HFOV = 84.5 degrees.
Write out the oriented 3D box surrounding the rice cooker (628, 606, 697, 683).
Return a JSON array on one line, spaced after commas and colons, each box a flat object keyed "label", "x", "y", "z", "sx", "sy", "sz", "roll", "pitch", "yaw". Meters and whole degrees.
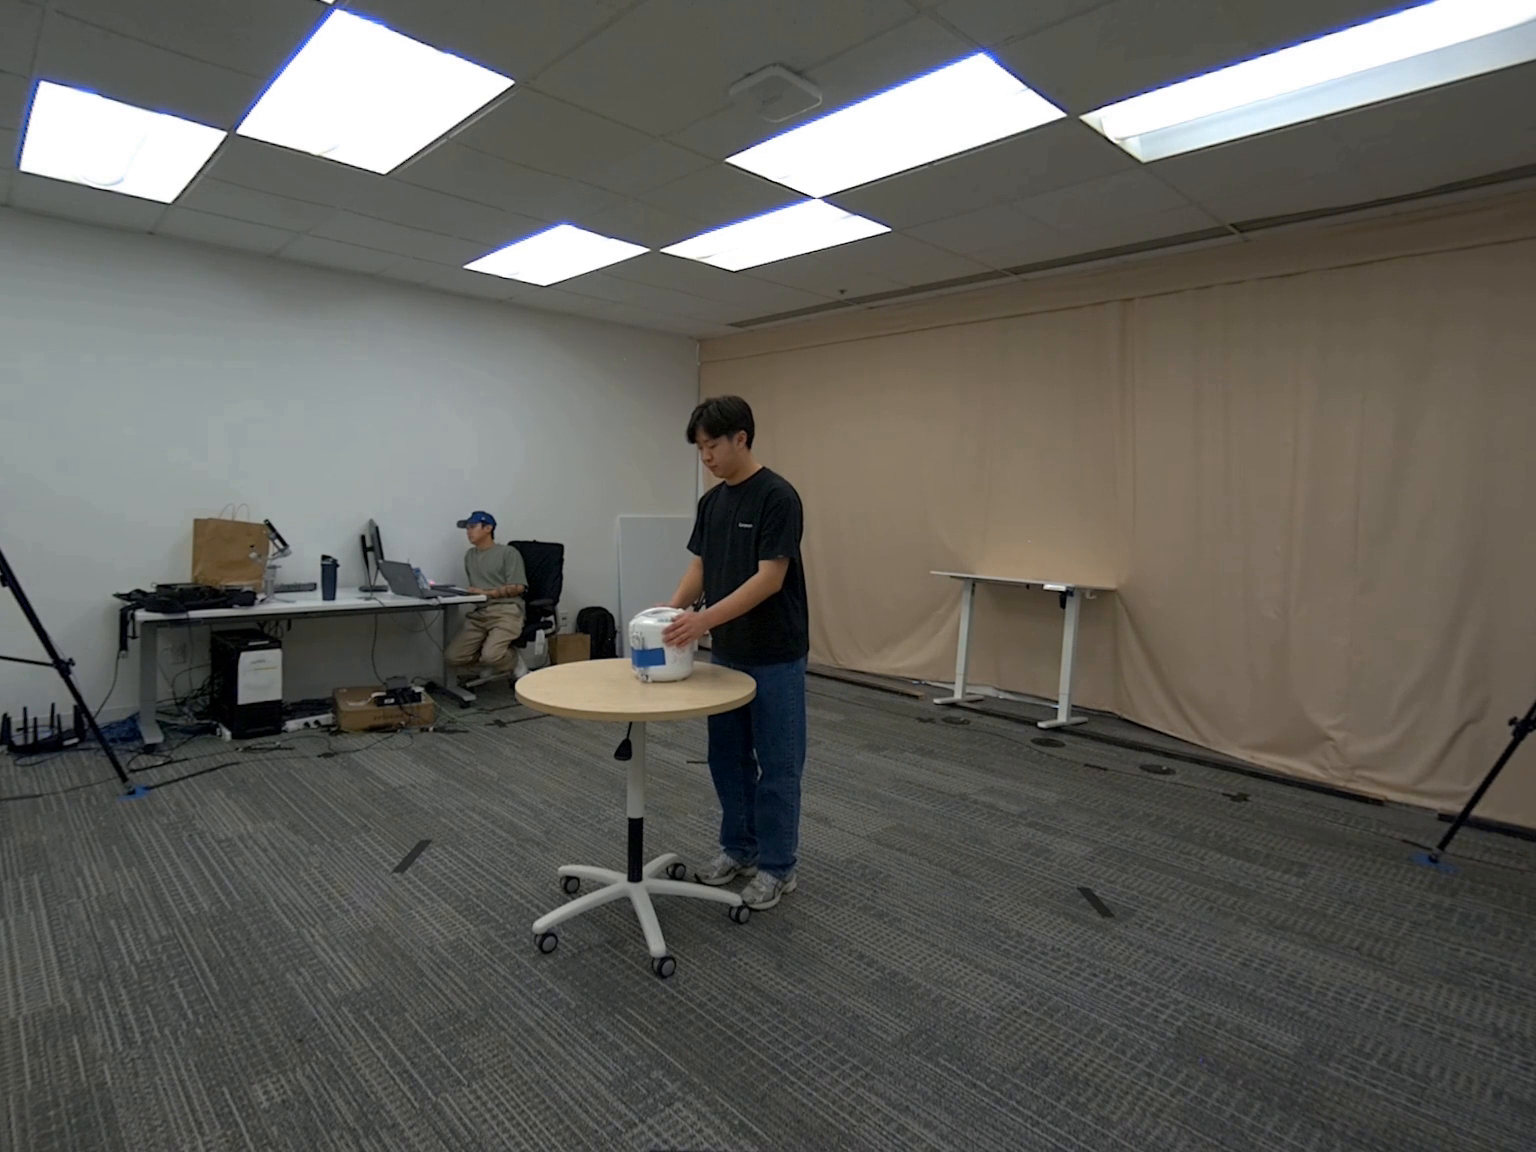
[{"label": "rice cooker", "x": -0.350, "y": 0.221, "z": 2.784, "sx": 0.218, "sy": 0.232, "sz": 0.220, "roll": 2, "pitch": 3, "yaw": -12}]
